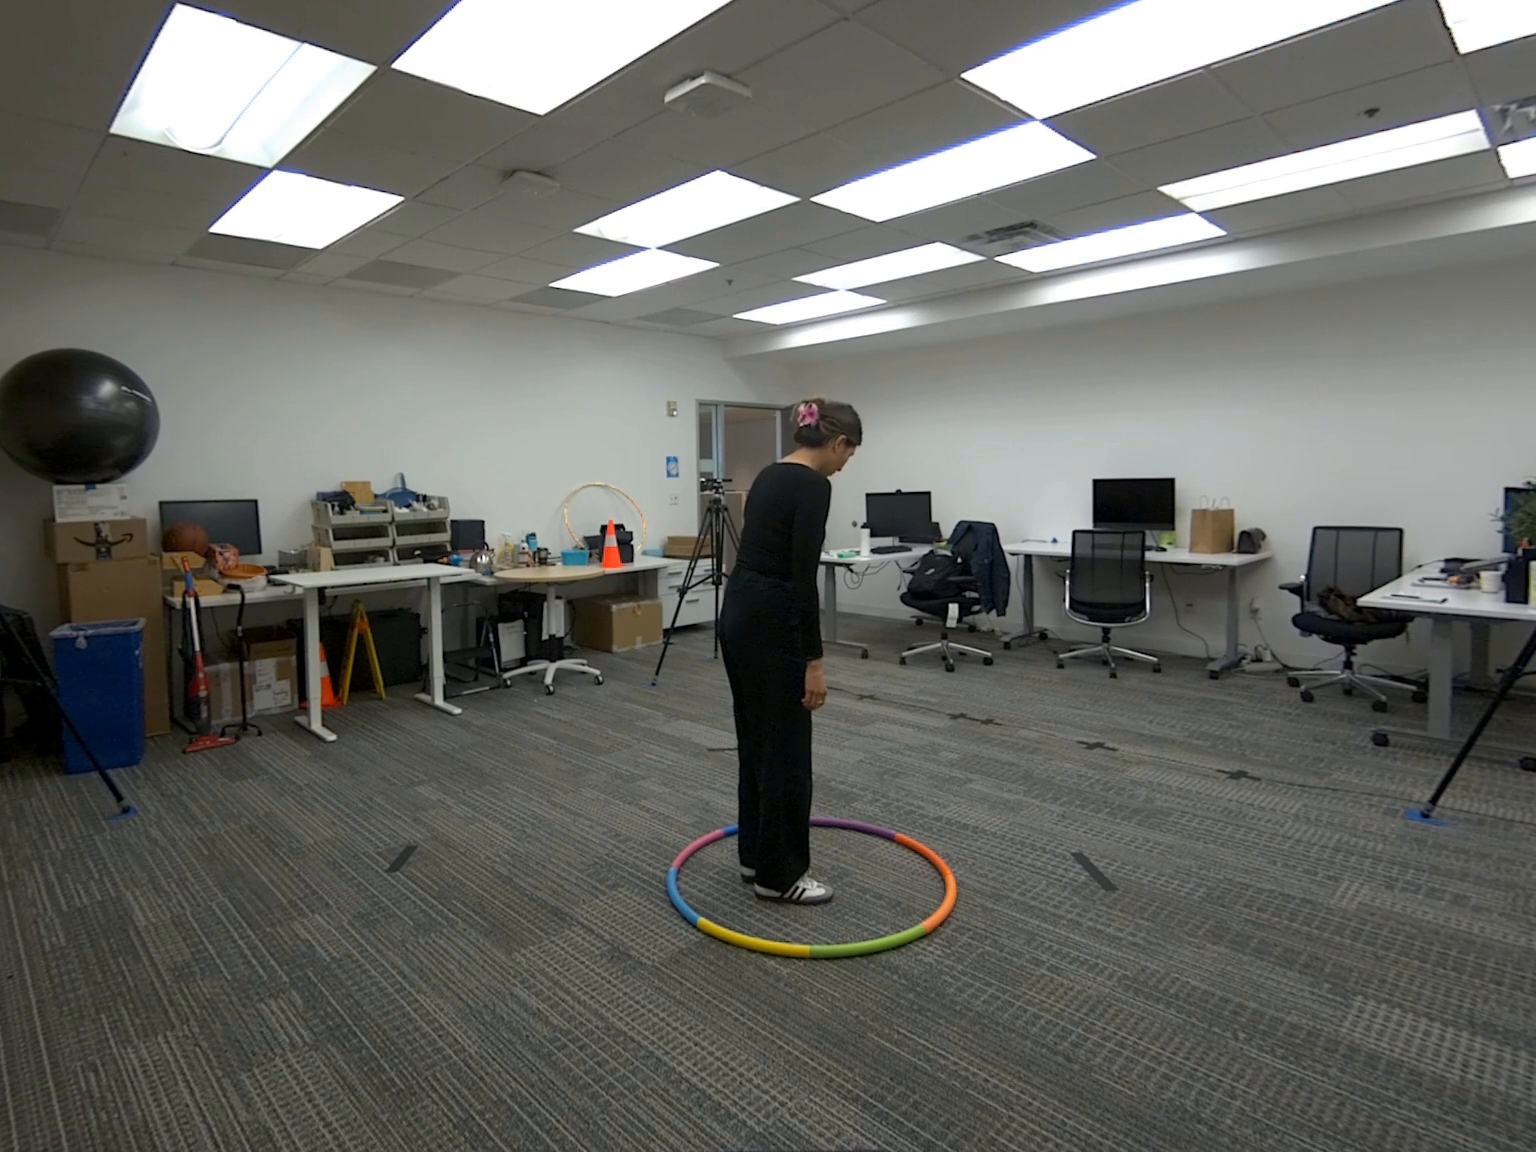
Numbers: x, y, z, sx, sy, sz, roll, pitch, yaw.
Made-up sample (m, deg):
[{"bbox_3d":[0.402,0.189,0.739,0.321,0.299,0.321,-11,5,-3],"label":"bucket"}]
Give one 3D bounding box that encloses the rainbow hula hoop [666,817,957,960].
[{"bbox_3d":[0.141,1.029,2.964,0.978,0.035,0.984,-2,6,-2],"label":"rainbow hula hoop"}]
